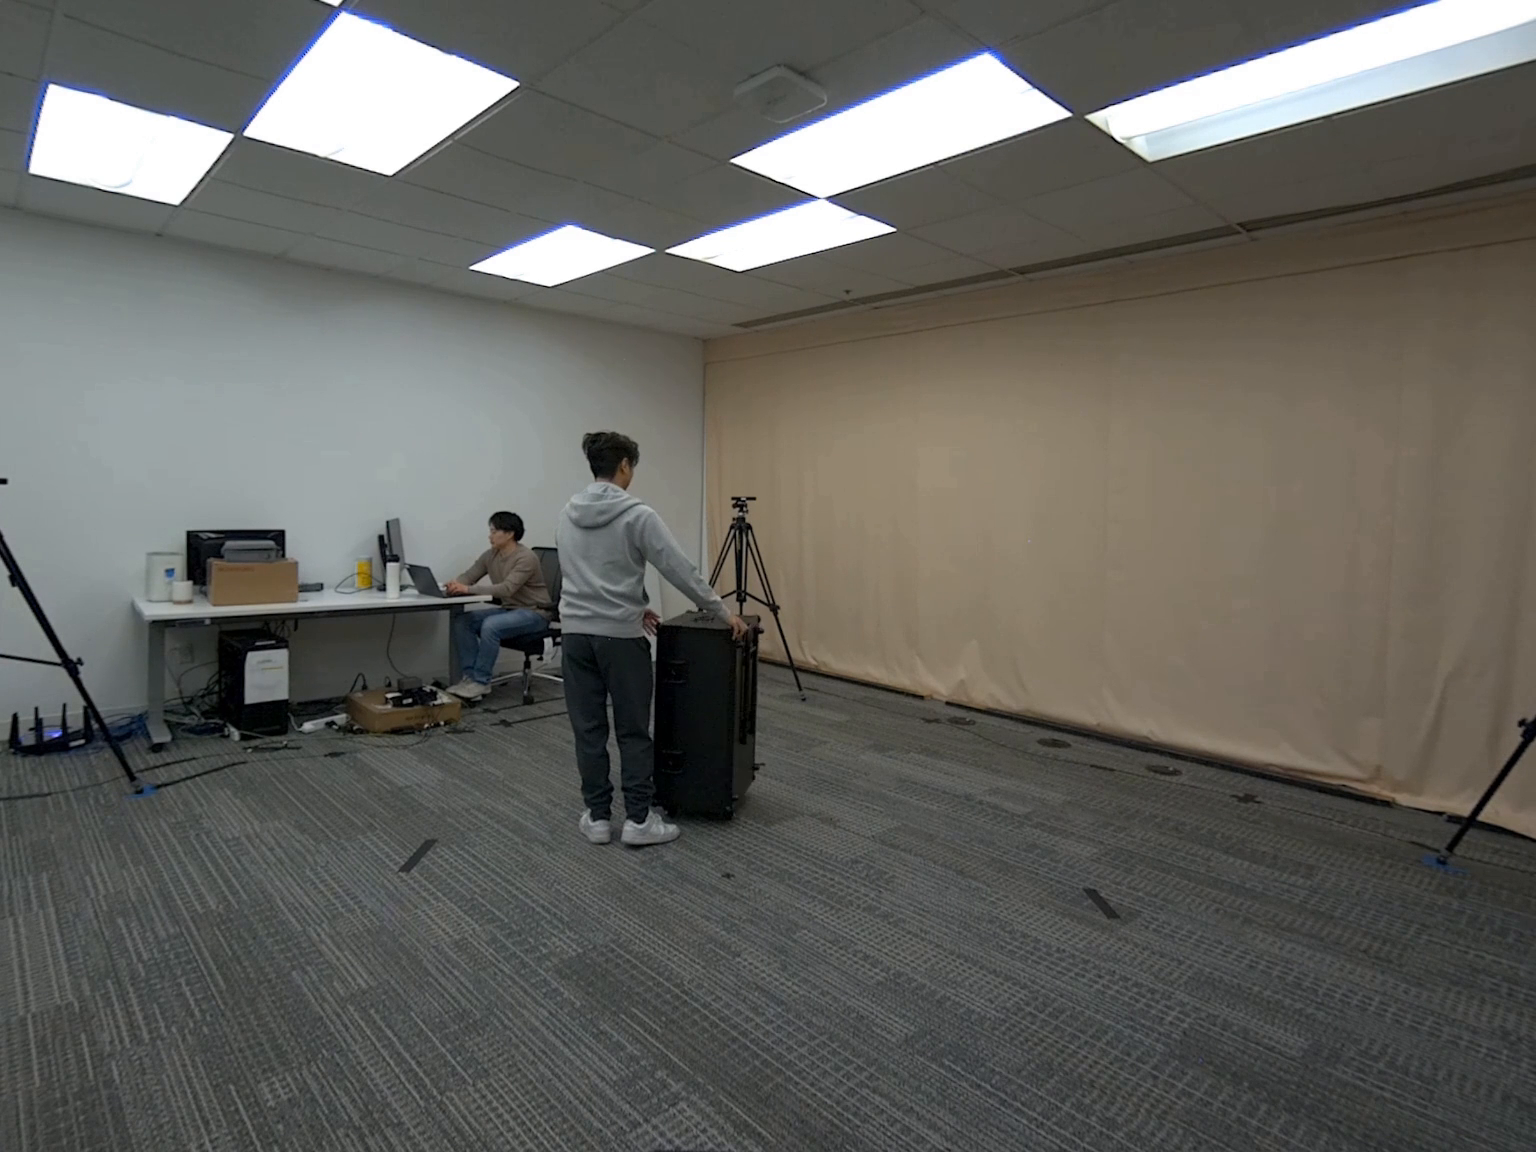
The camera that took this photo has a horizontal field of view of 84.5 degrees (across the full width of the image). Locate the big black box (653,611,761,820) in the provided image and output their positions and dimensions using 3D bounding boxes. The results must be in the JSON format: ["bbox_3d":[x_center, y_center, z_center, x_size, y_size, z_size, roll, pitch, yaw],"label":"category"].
[{"bbox_3d":[-0.266,0.623,3.784,0.401,0.859,0.517,4,4,12],"label":"big black box"}]
